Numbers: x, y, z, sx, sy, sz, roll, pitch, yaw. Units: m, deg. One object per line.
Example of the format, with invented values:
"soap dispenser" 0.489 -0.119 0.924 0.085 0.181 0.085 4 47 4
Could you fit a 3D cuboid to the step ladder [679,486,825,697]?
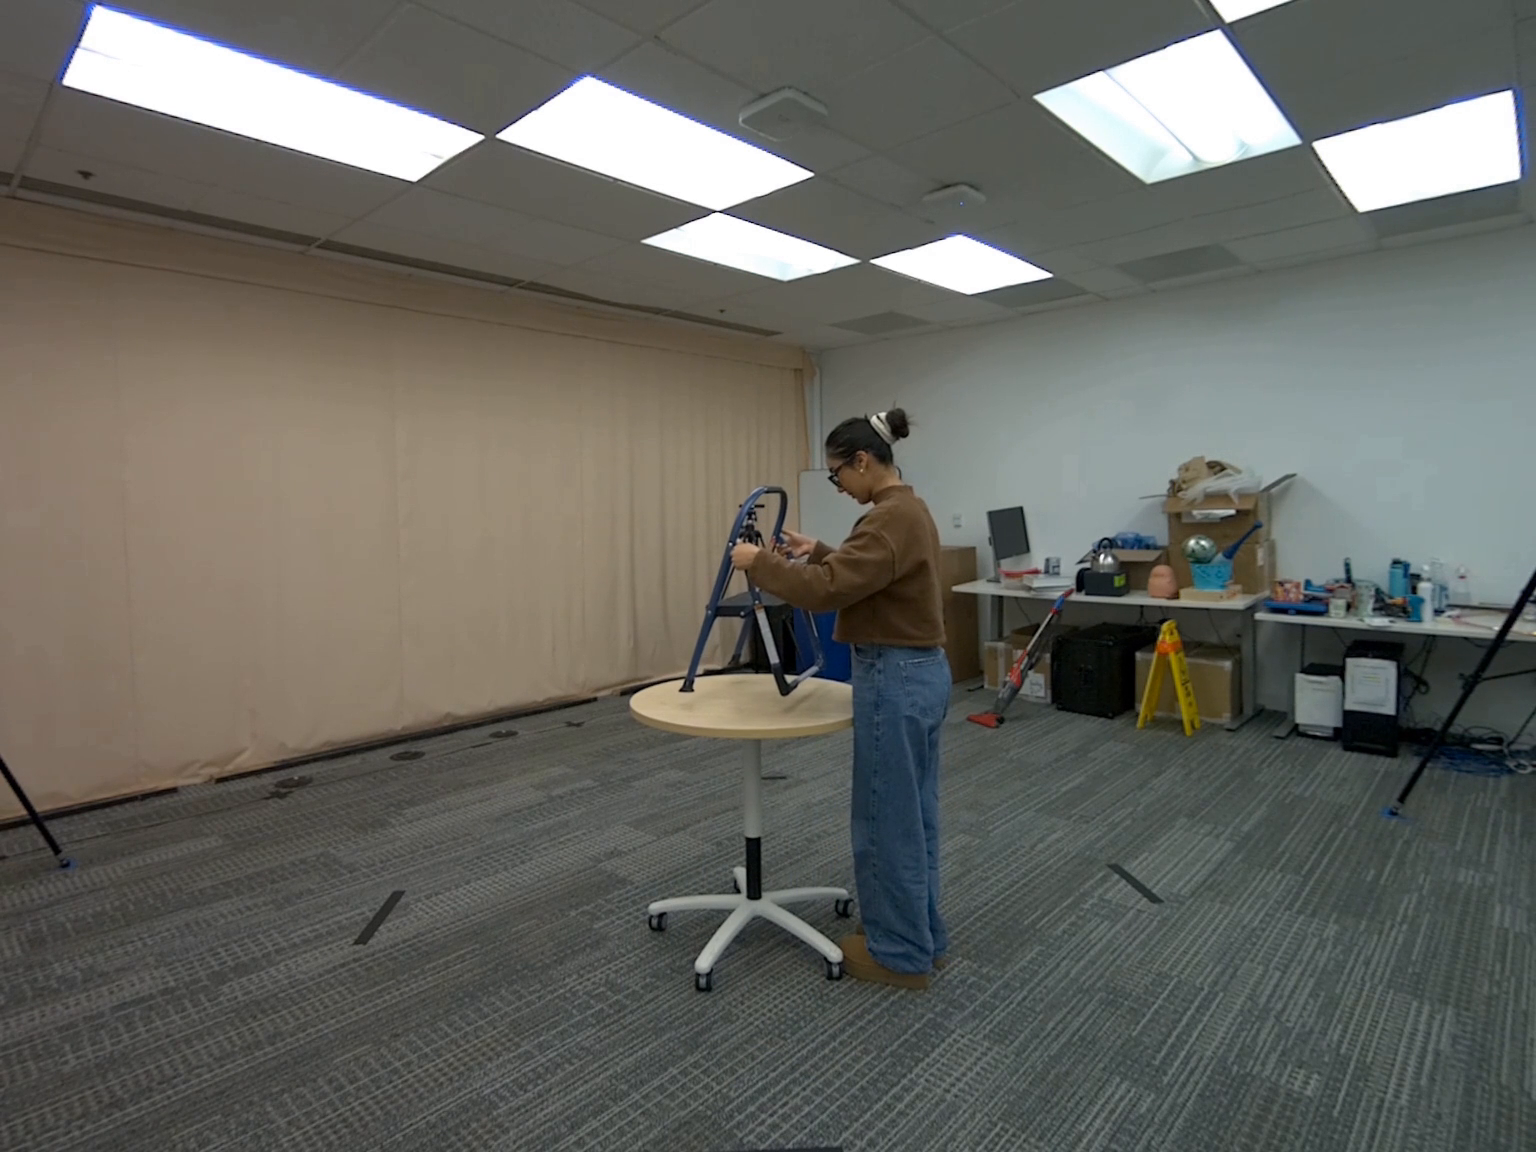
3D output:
"step ladder" -0.042 0.031 2.646 0.357 0.604 0.422 -1 5 21
